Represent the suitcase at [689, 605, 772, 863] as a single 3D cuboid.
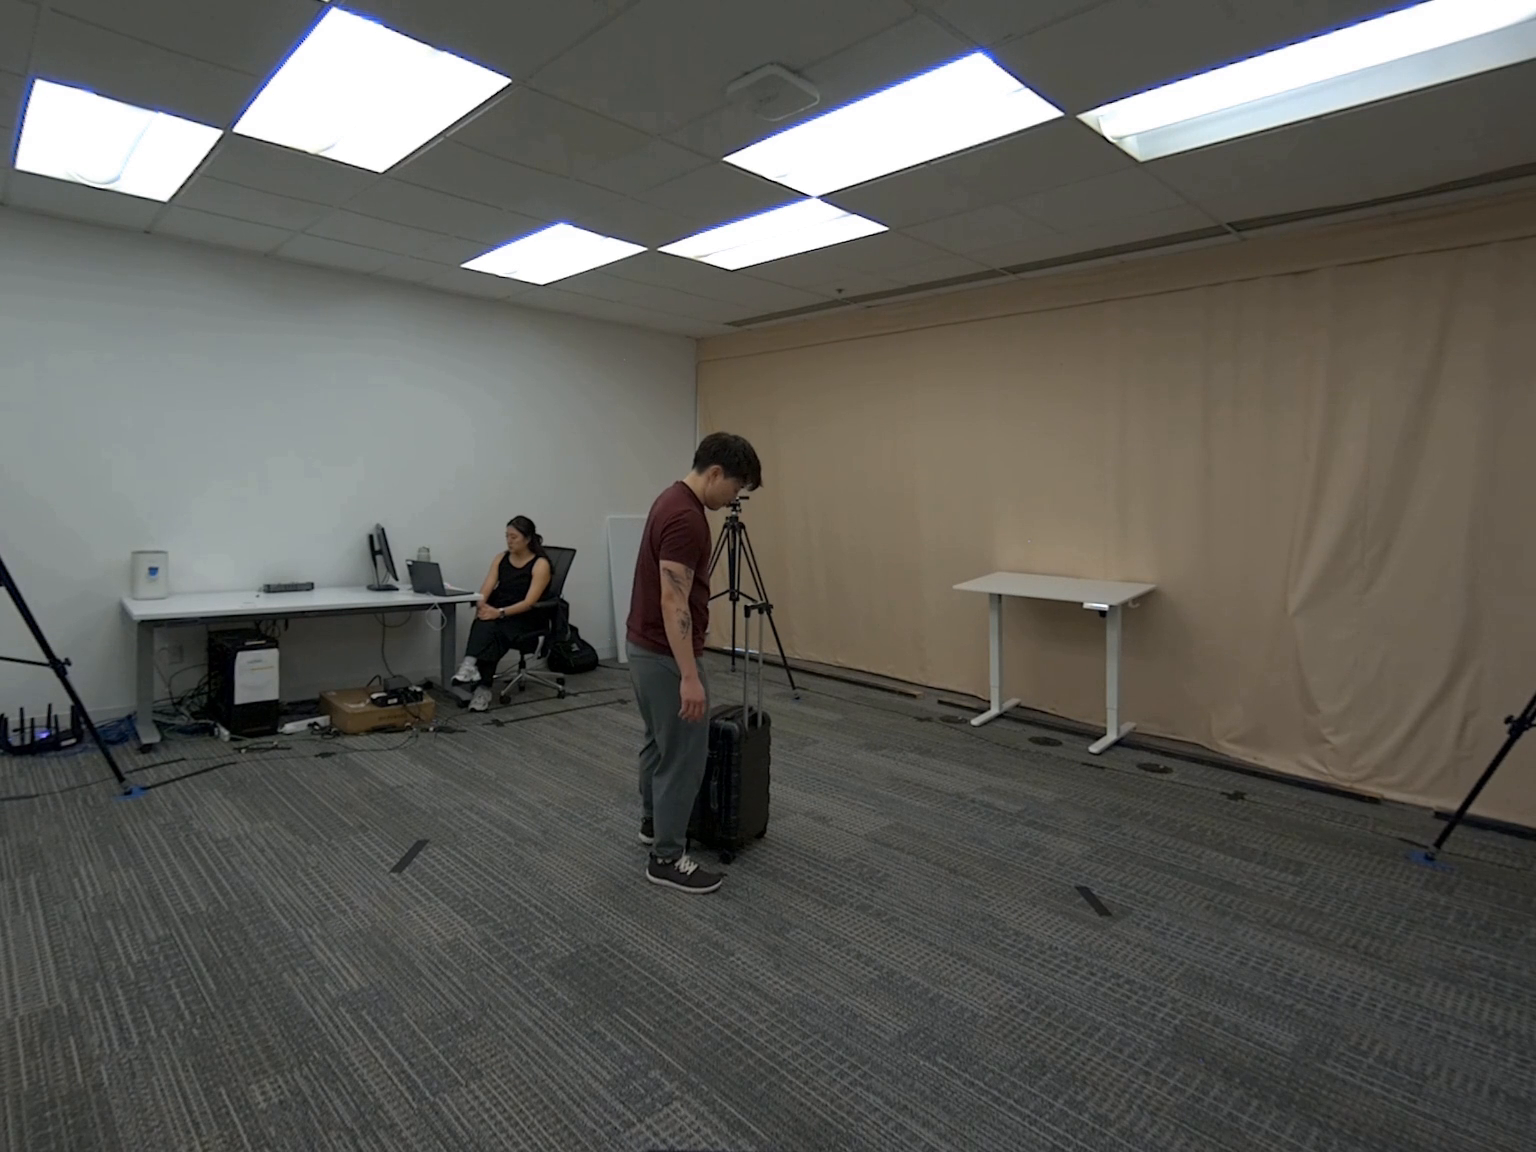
[{"bbox_3d":[-0.162,0.601,3.361,0.262,0.977,0.377,1,2,26],"label":"suitcase"}]
